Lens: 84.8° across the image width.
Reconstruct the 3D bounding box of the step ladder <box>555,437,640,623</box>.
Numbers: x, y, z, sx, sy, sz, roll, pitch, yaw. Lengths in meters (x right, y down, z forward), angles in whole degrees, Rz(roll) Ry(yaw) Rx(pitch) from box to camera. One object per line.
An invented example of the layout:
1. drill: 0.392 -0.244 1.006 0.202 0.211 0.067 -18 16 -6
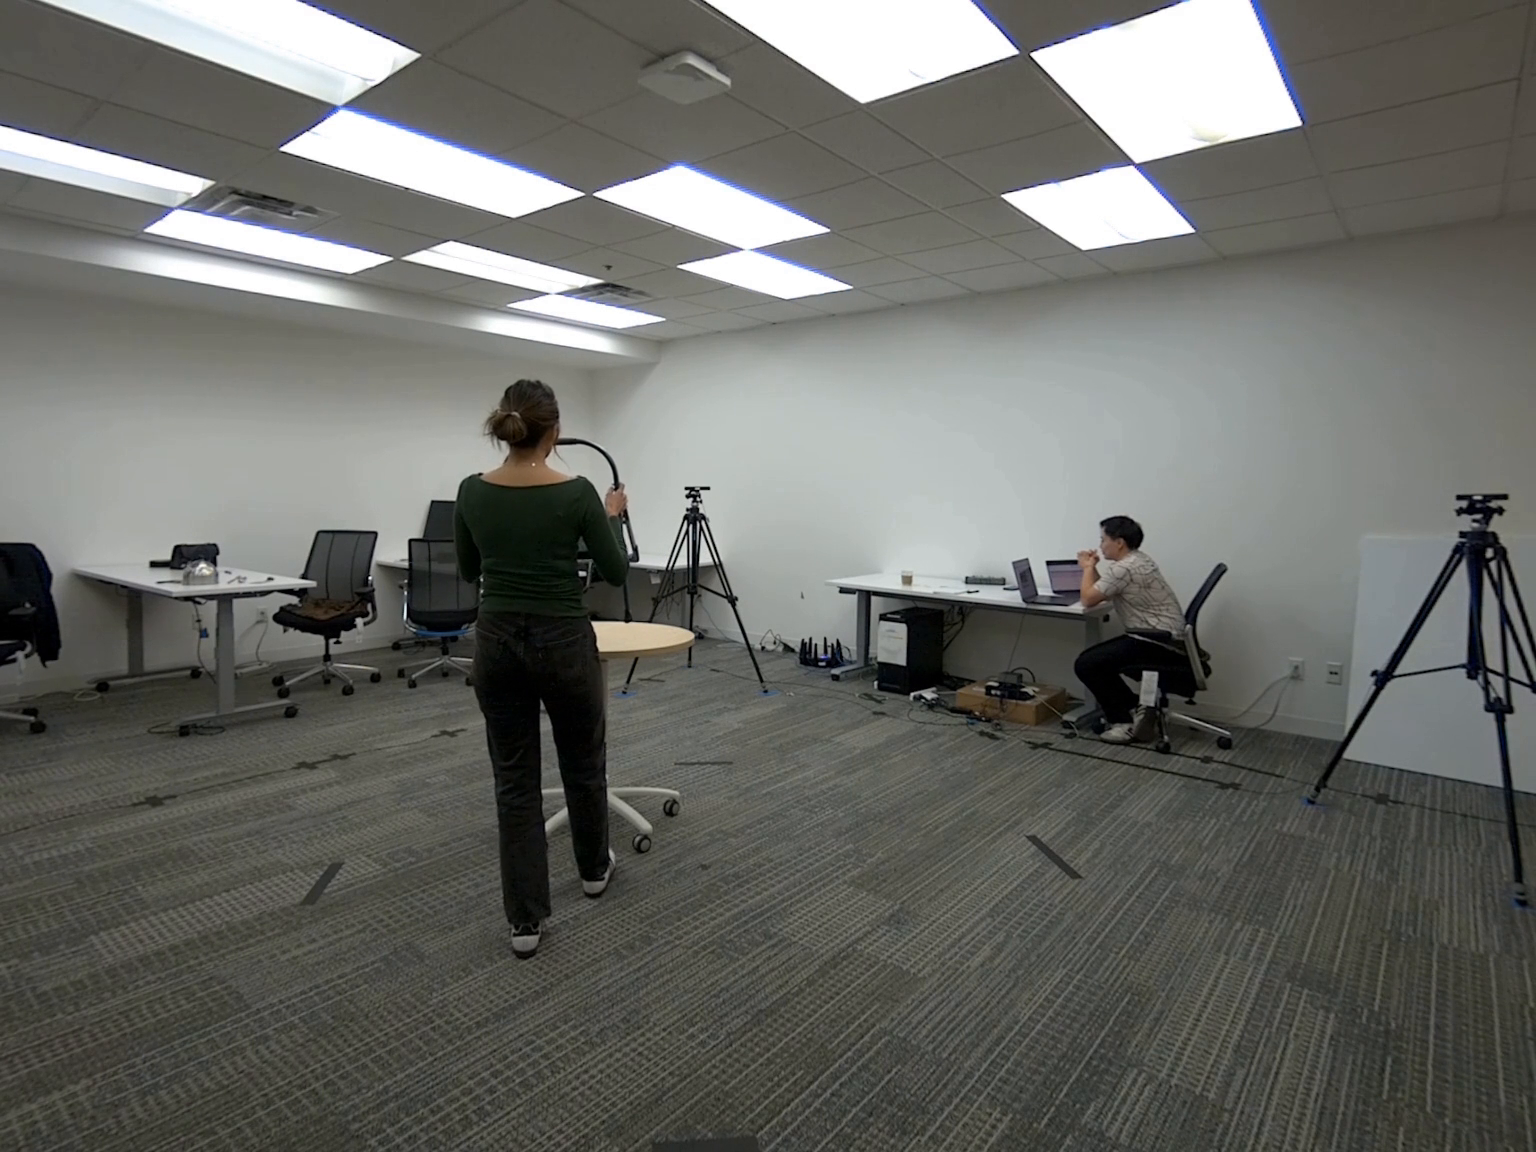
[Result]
1. step ladder: -0.731 -0.180 2.962 0.431 0.589 0.359 -1 38 1
